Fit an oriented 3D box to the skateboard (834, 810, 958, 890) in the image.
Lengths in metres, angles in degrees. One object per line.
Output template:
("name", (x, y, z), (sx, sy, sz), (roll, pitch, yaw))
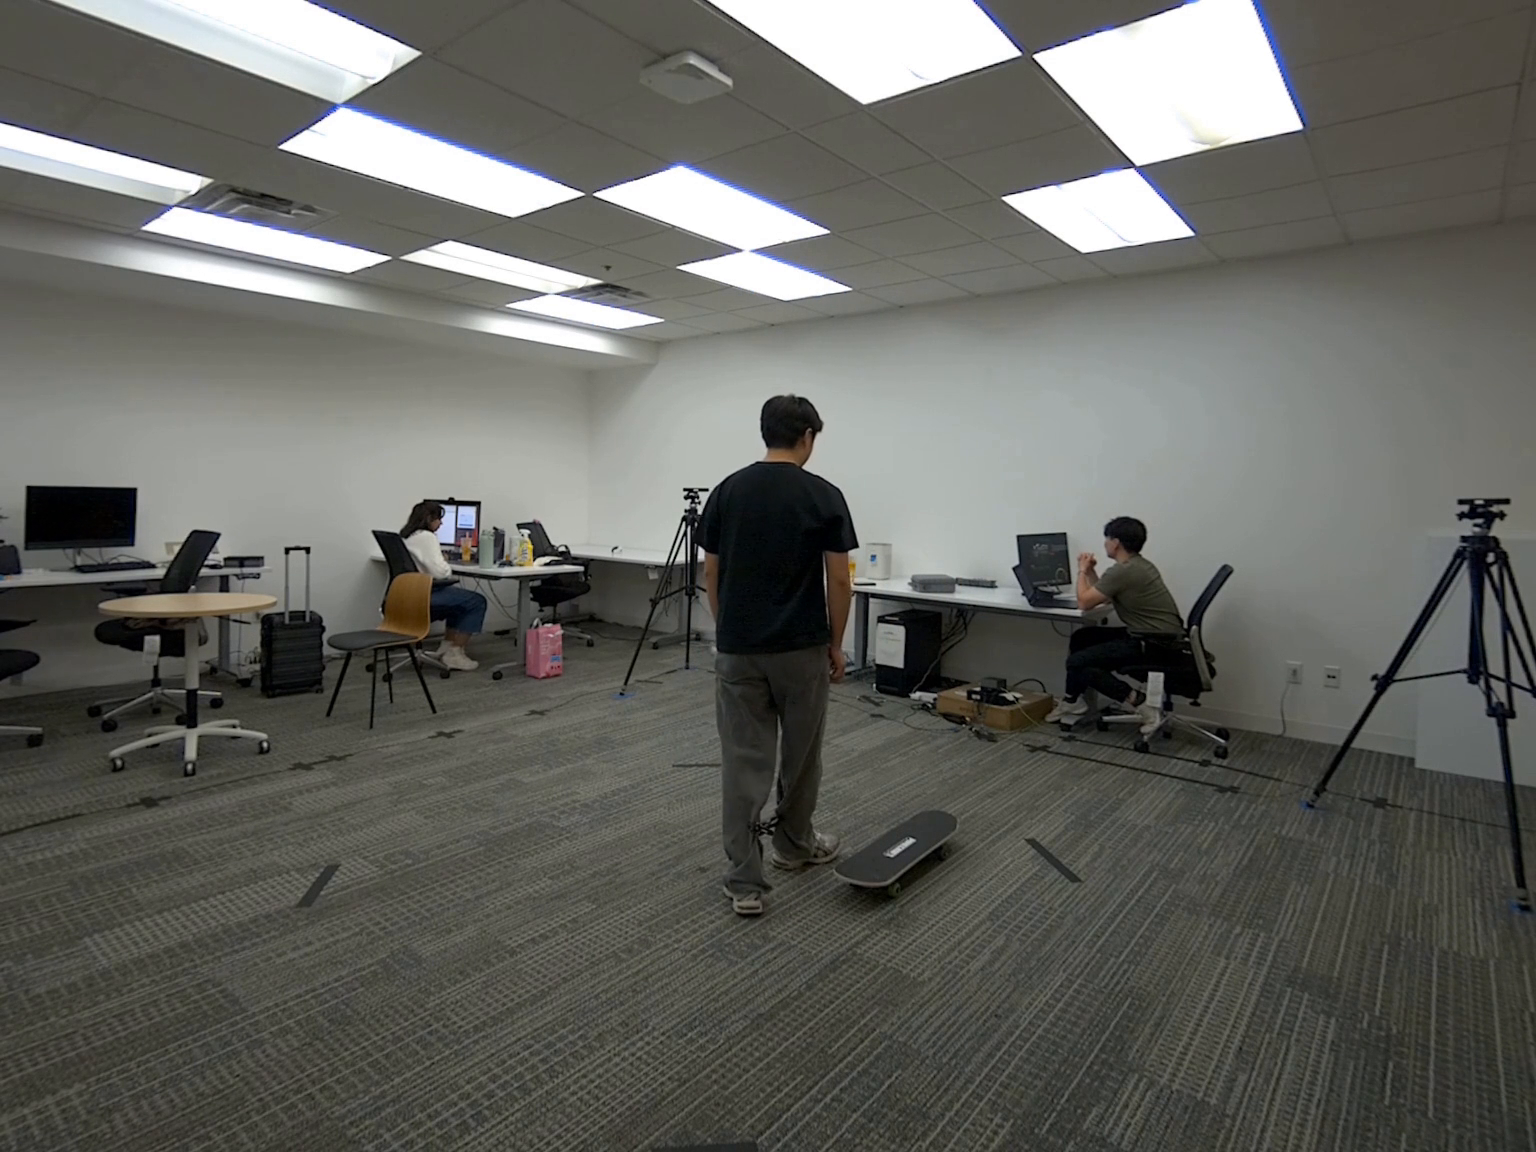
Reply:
("skateboard", (0.475, 1.027, 3.131), (0.200, 0.110, 0.763), (5, 6, 36))
